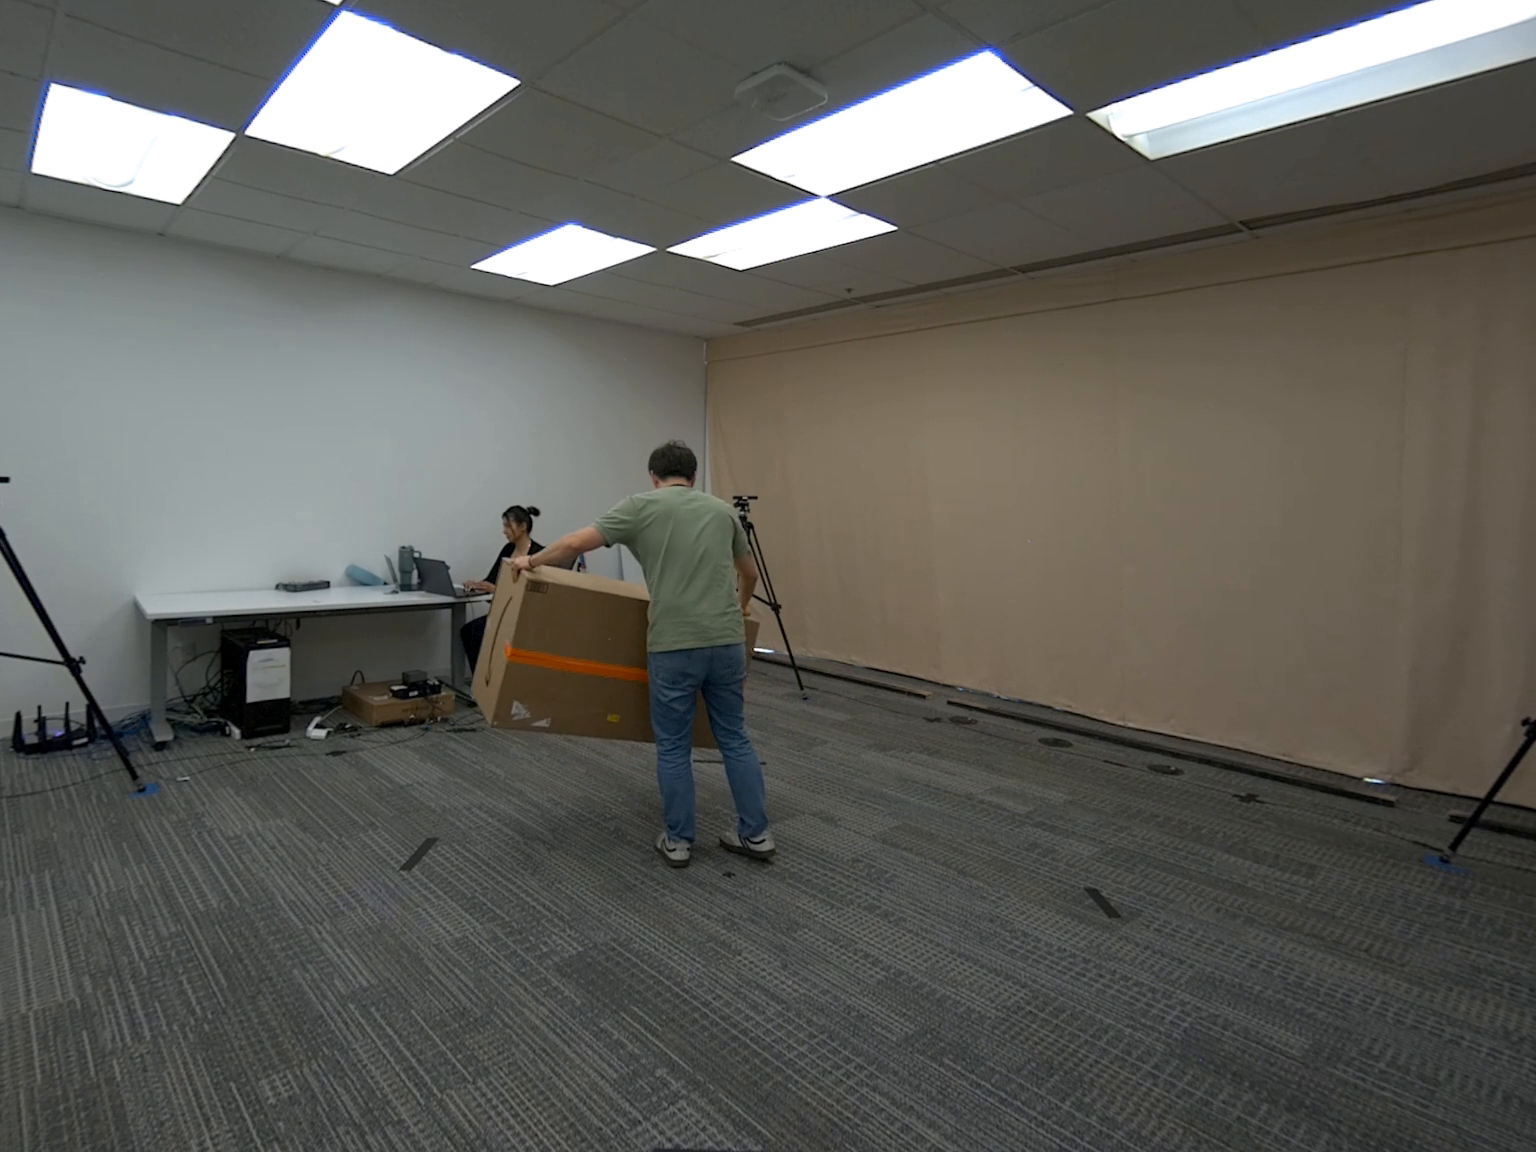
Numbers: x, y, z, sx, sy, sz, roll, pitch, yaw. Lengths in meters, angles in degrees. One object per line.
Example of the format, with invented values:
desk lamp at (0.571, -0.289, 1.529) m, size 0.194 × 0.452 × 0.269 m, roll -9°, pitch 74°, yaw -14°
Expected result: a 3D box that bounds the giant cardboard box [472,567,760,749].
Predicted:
giant cardboard box at (-0.624, 0.335, 3.516) m, size 1.002 × 0.576 × 0.437 m, roll 13°, pitch 5°, yaw -28°
